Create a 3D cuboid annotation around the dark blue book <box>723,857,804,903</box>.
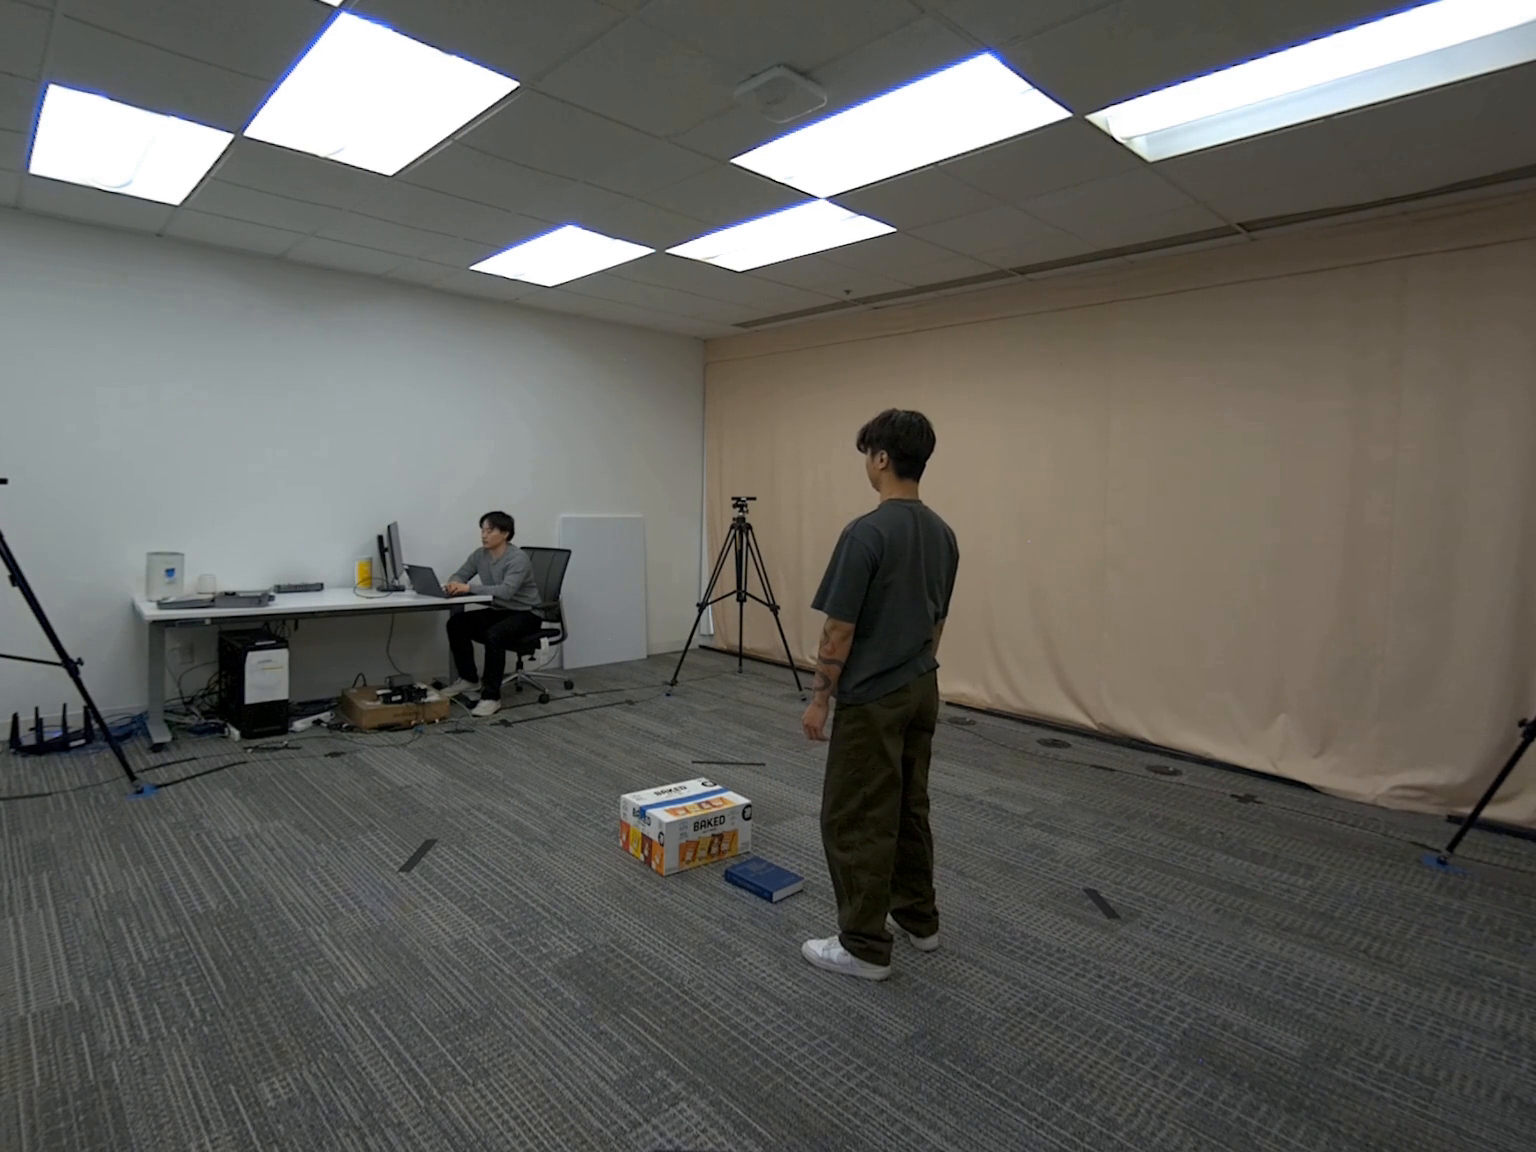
[{"bbox_3d":[-0.023,1.091,3.031,0.160,0.045,0.251,-4,7,-45],"label":"dark blue book"}]
